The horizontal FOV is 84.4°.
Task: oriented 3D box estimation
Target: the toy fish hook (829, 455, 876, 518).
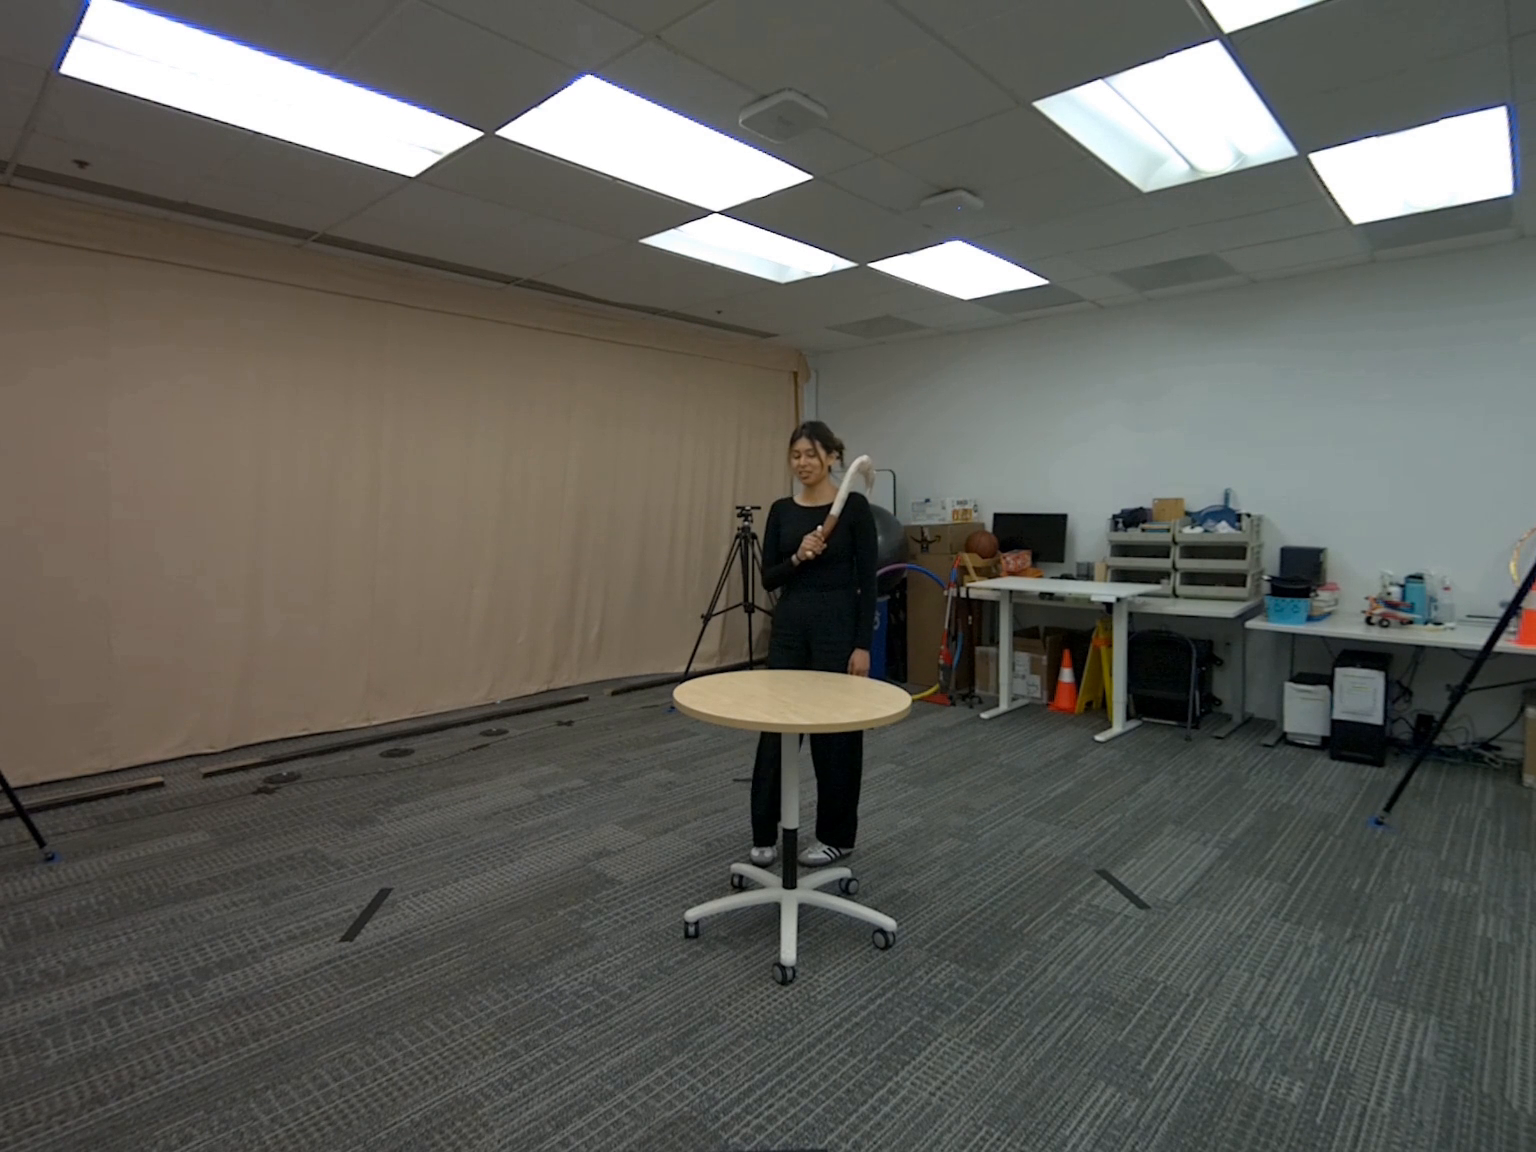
[{"bbox_3d":[0.294,-0.241,3.241,0.050,0.506,0.217,14,-27,40],"label":"toy fish hook"}]
